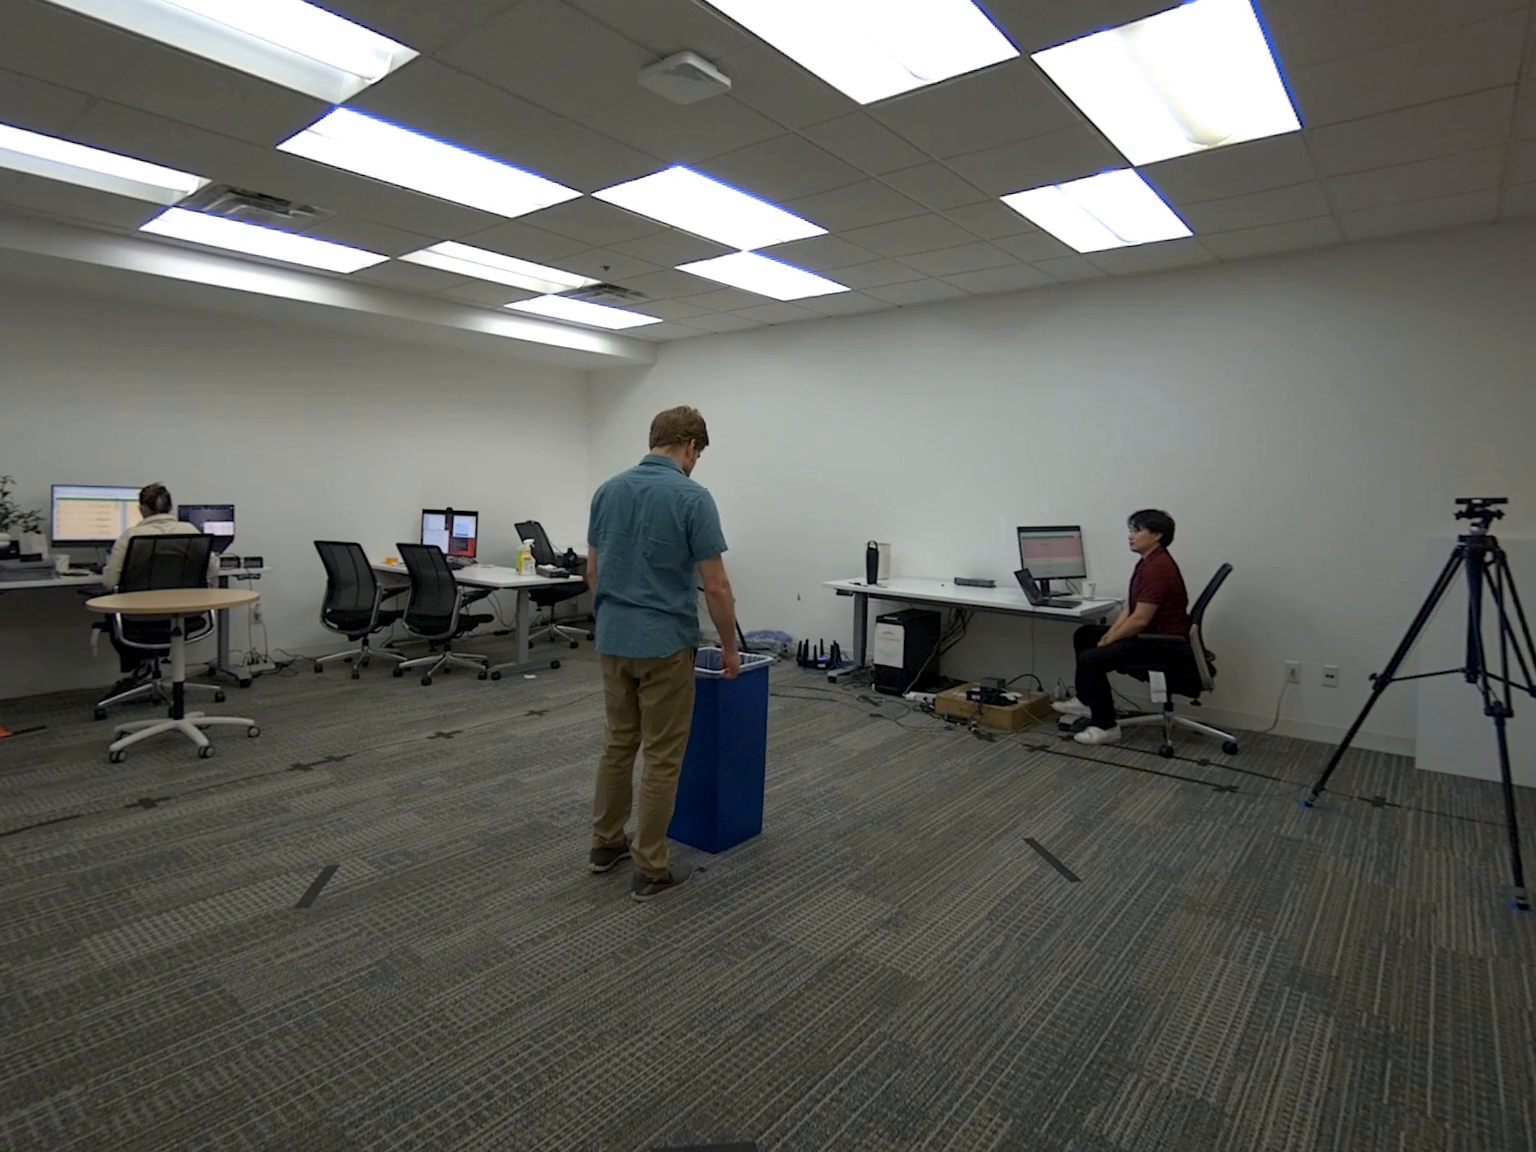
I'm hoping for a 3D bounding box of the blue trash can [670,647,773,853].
[{"bbox_3d":[-0.226,0.684,3.427,0.386,0.712,0.367,2,3,37],"label":"blue trash can"}]
